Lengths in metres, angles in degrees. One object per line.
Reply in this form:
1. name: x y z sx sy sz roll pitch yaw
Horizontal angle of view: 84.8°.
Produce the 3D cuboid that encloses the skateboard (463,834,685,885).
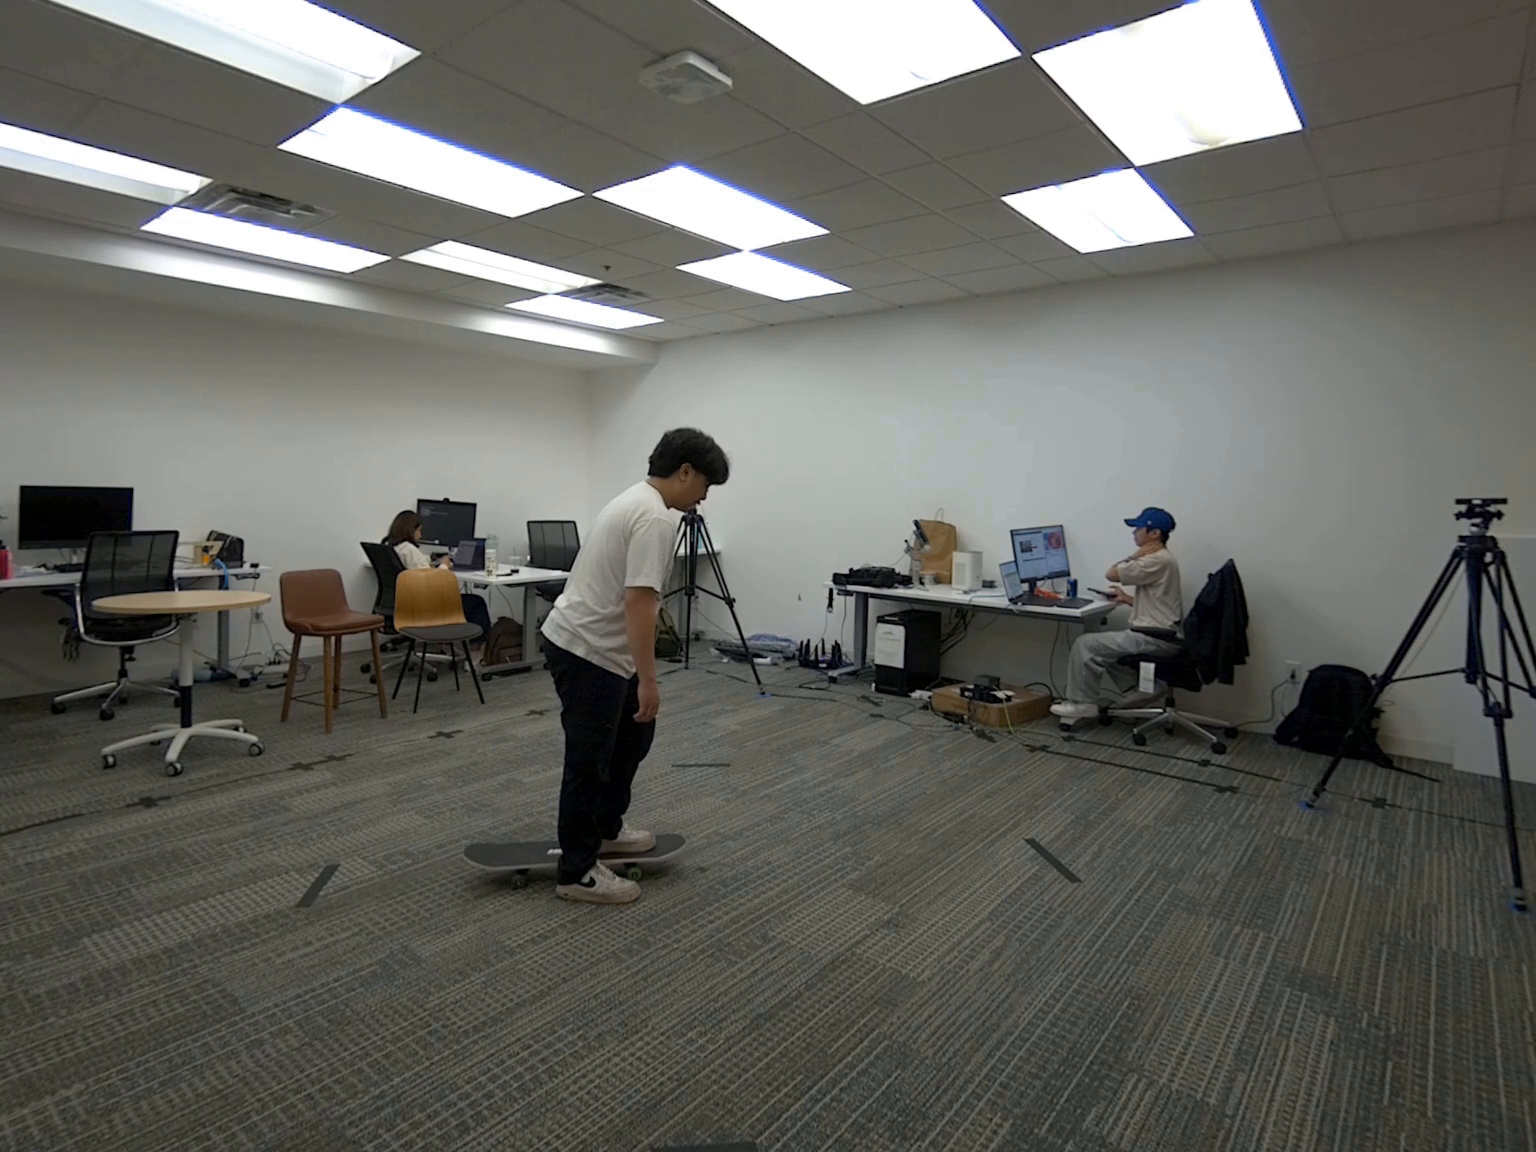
1. skateboard: -0.692 1.009 3.043 0.776 0.110 0.196 0 5 -11
